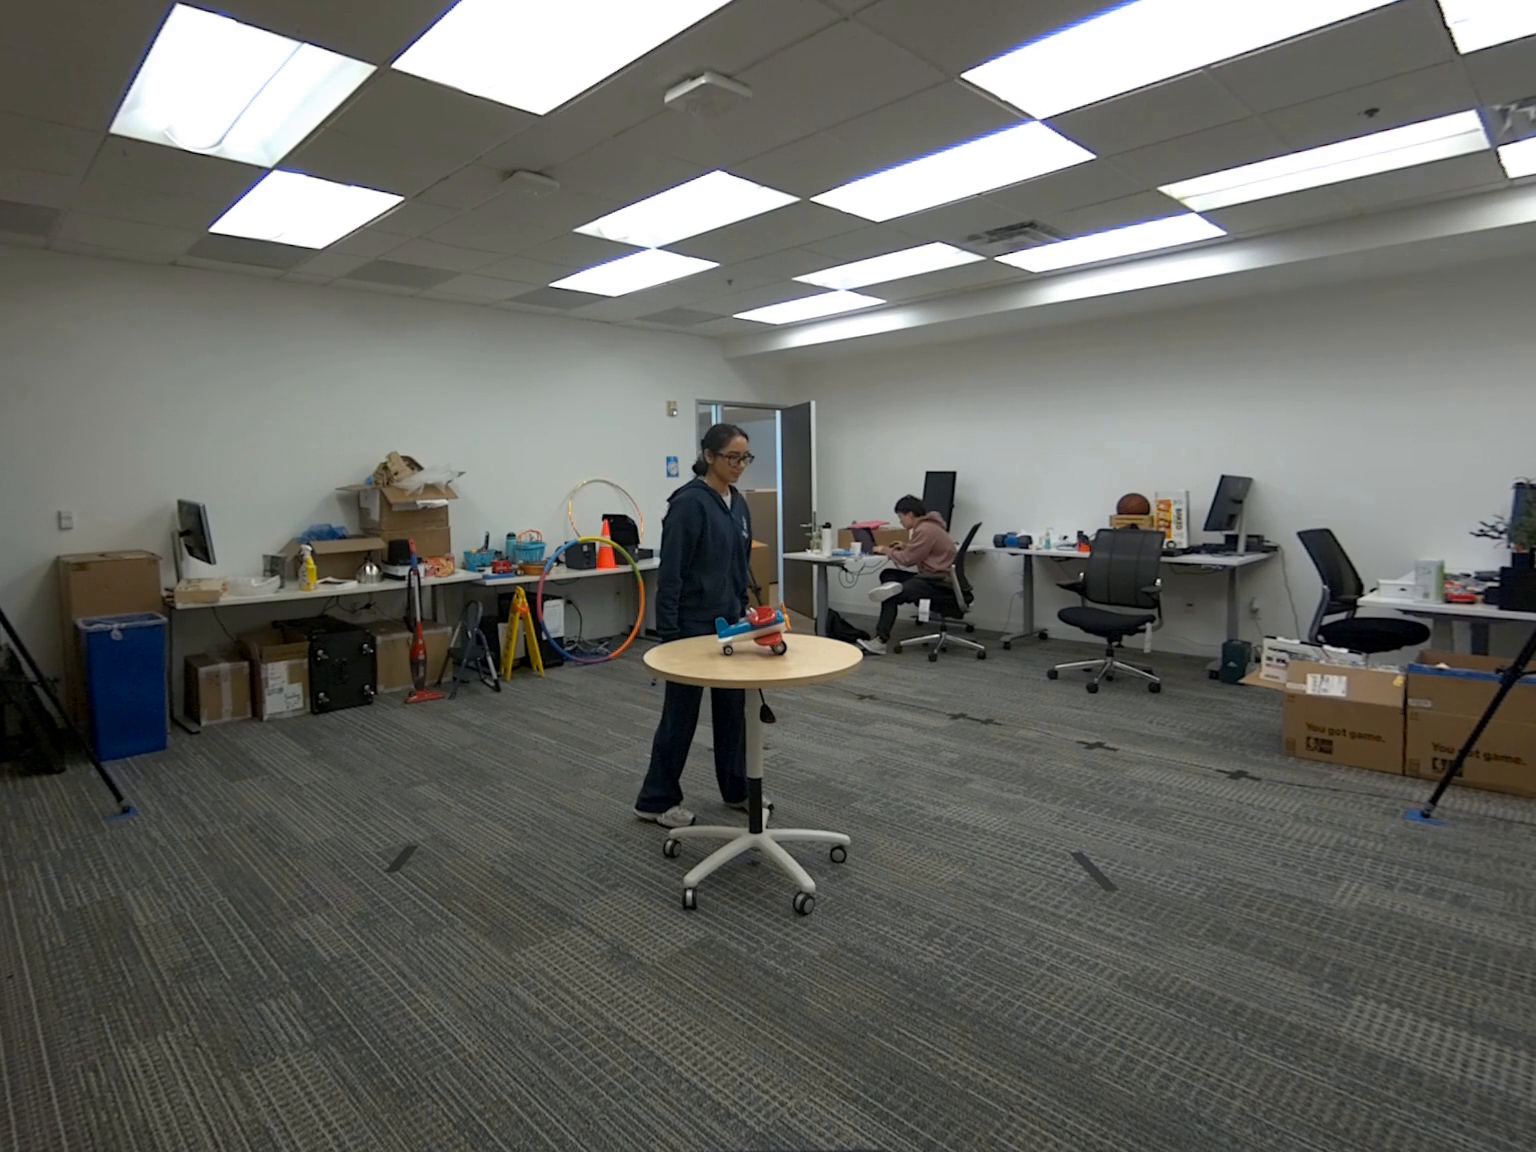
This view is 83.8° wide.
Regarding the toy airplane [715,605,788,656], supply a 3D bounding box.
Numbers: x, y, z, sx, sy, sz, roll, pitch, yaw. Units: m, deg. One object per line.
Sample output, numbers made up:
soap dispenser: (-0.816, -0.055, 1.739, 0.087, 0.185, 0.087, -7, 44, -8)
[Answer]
toy airplane: (-0.050, 0.200, 2.988, 0.253, 0.155, 0.258, -5, 7, -30)
